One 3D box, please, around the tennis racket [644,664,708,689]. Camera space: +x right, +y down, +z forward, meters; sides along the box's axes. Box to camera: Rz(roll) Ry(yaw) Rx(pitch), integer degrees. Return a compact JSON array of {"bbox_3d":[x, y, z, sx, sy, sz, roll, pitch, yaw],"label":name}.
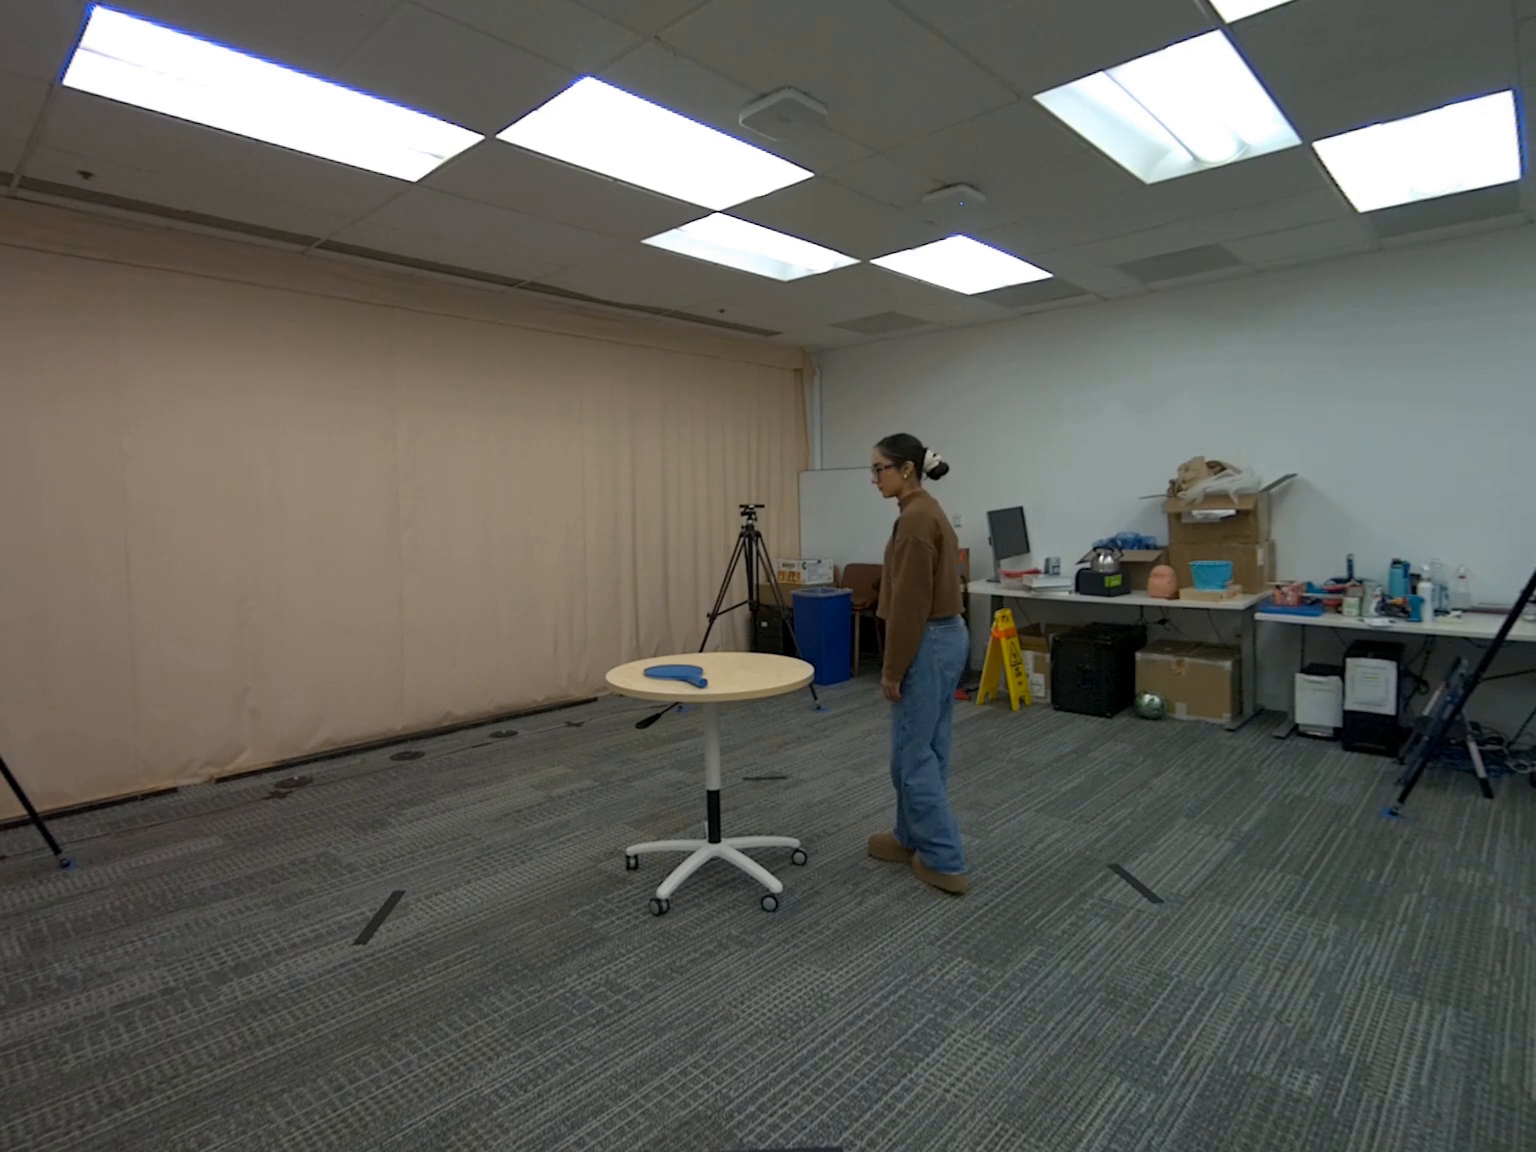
[{"bbox_3d":[-0.305,0.354,3.009,0.209,0.032,0.444,-5,4,-27],"label":"tennis racket"}]
